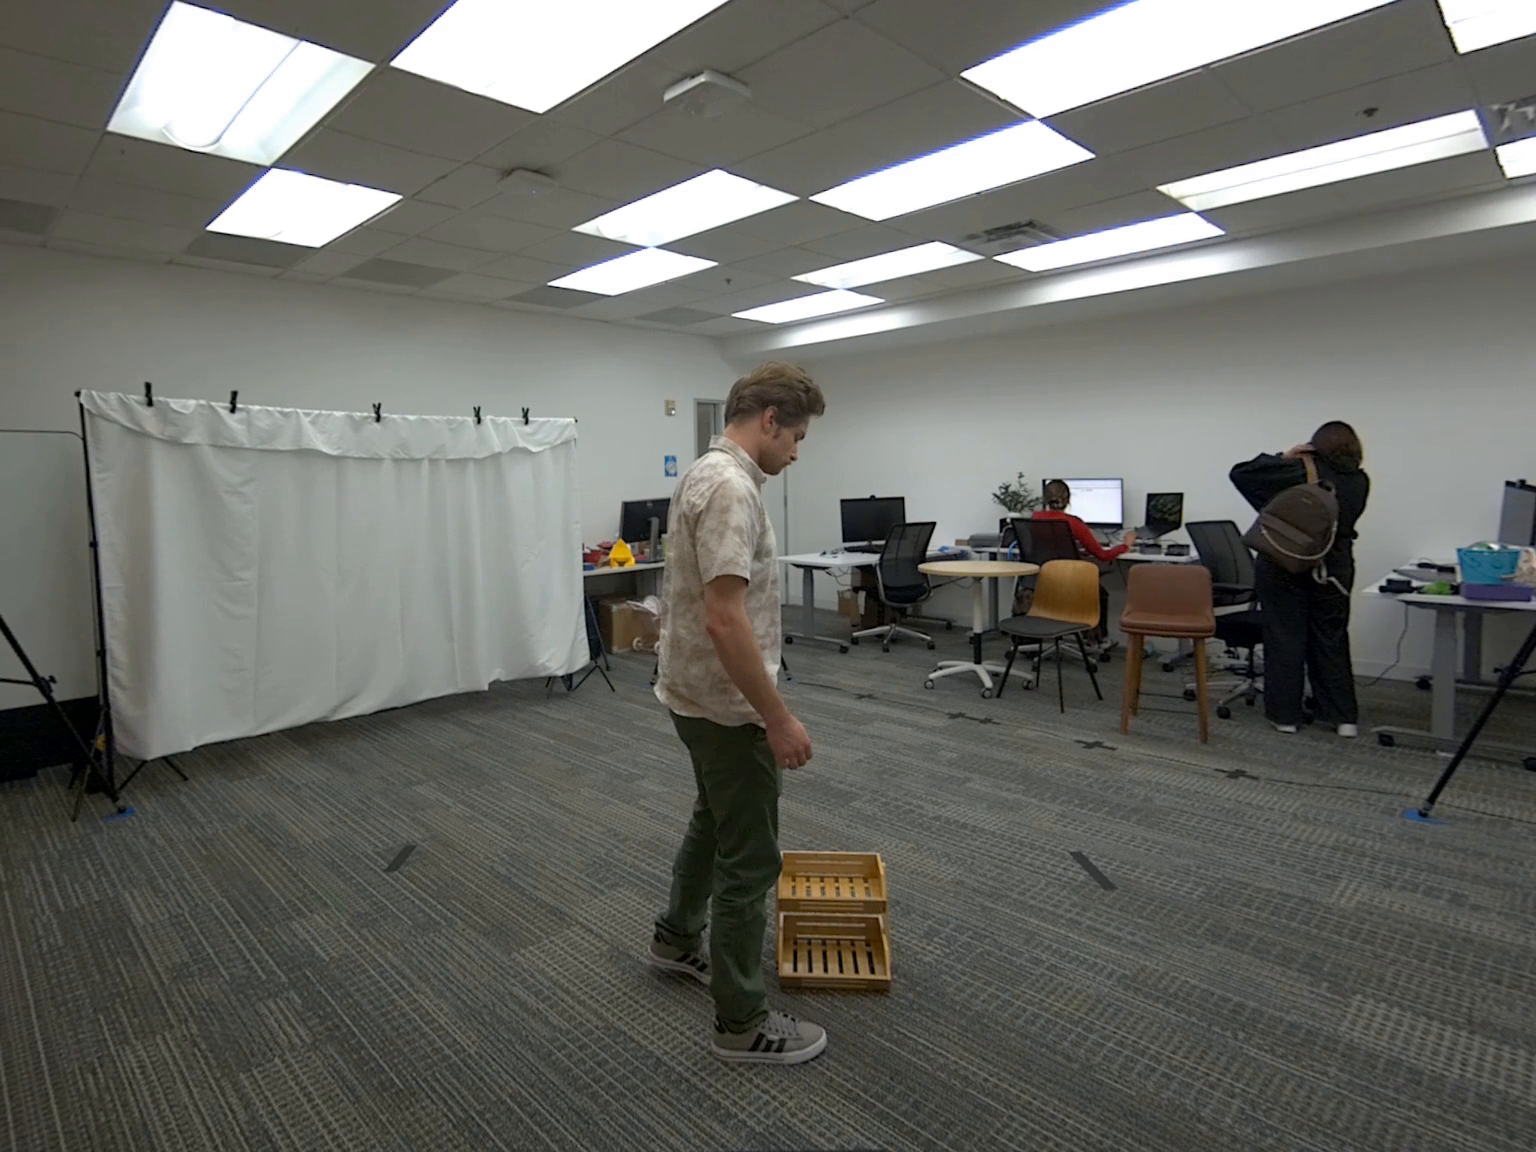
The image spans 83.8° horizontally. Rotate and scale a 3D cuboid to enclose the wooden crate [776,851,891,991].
[{"bbox_3d":[0.191,0.985,2.443,0.326,0.272,0.302,-1,6,3],"label":"wooden crate"}]
